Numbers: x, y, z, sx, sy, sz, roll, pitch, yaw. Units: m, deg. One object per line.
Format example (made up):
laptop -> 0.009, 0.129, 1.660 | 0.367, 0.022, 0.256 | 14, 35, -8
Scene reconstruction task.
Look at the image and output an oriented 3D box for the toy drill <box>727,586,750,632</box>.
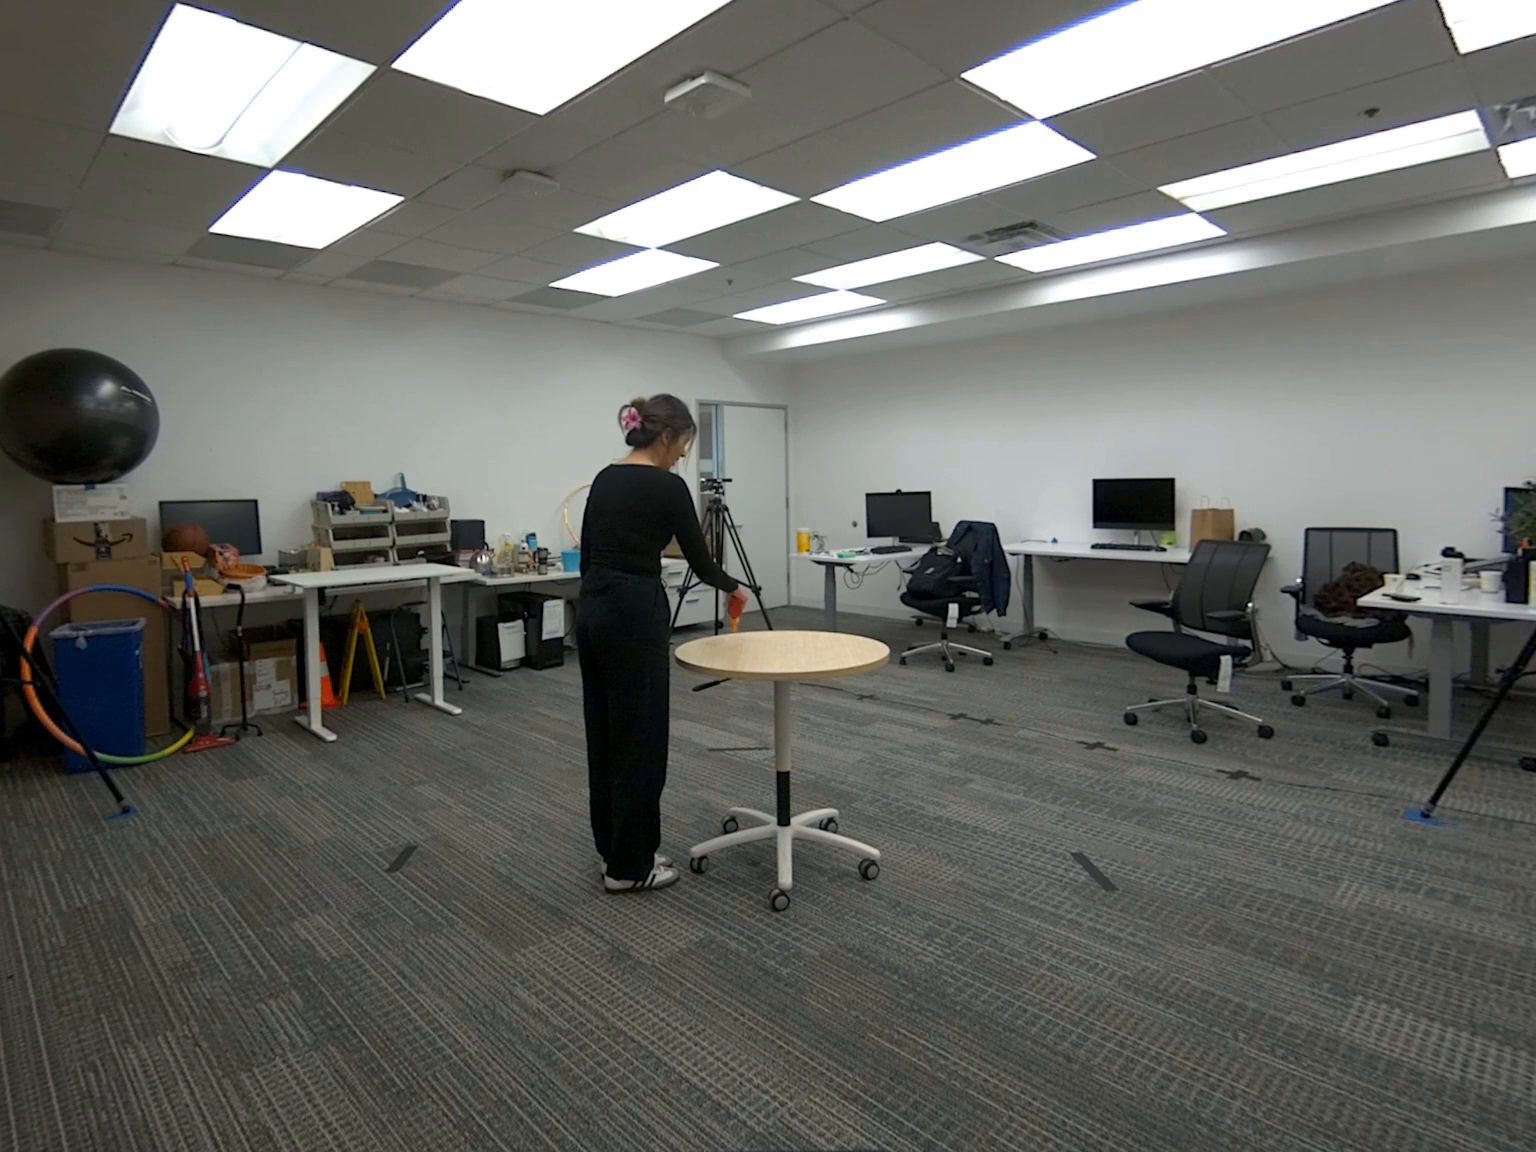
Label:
toy drill -> -0.127, 0.141, 3.206 | 0.061, 0.168, 0.147 | 8, 10, -1
